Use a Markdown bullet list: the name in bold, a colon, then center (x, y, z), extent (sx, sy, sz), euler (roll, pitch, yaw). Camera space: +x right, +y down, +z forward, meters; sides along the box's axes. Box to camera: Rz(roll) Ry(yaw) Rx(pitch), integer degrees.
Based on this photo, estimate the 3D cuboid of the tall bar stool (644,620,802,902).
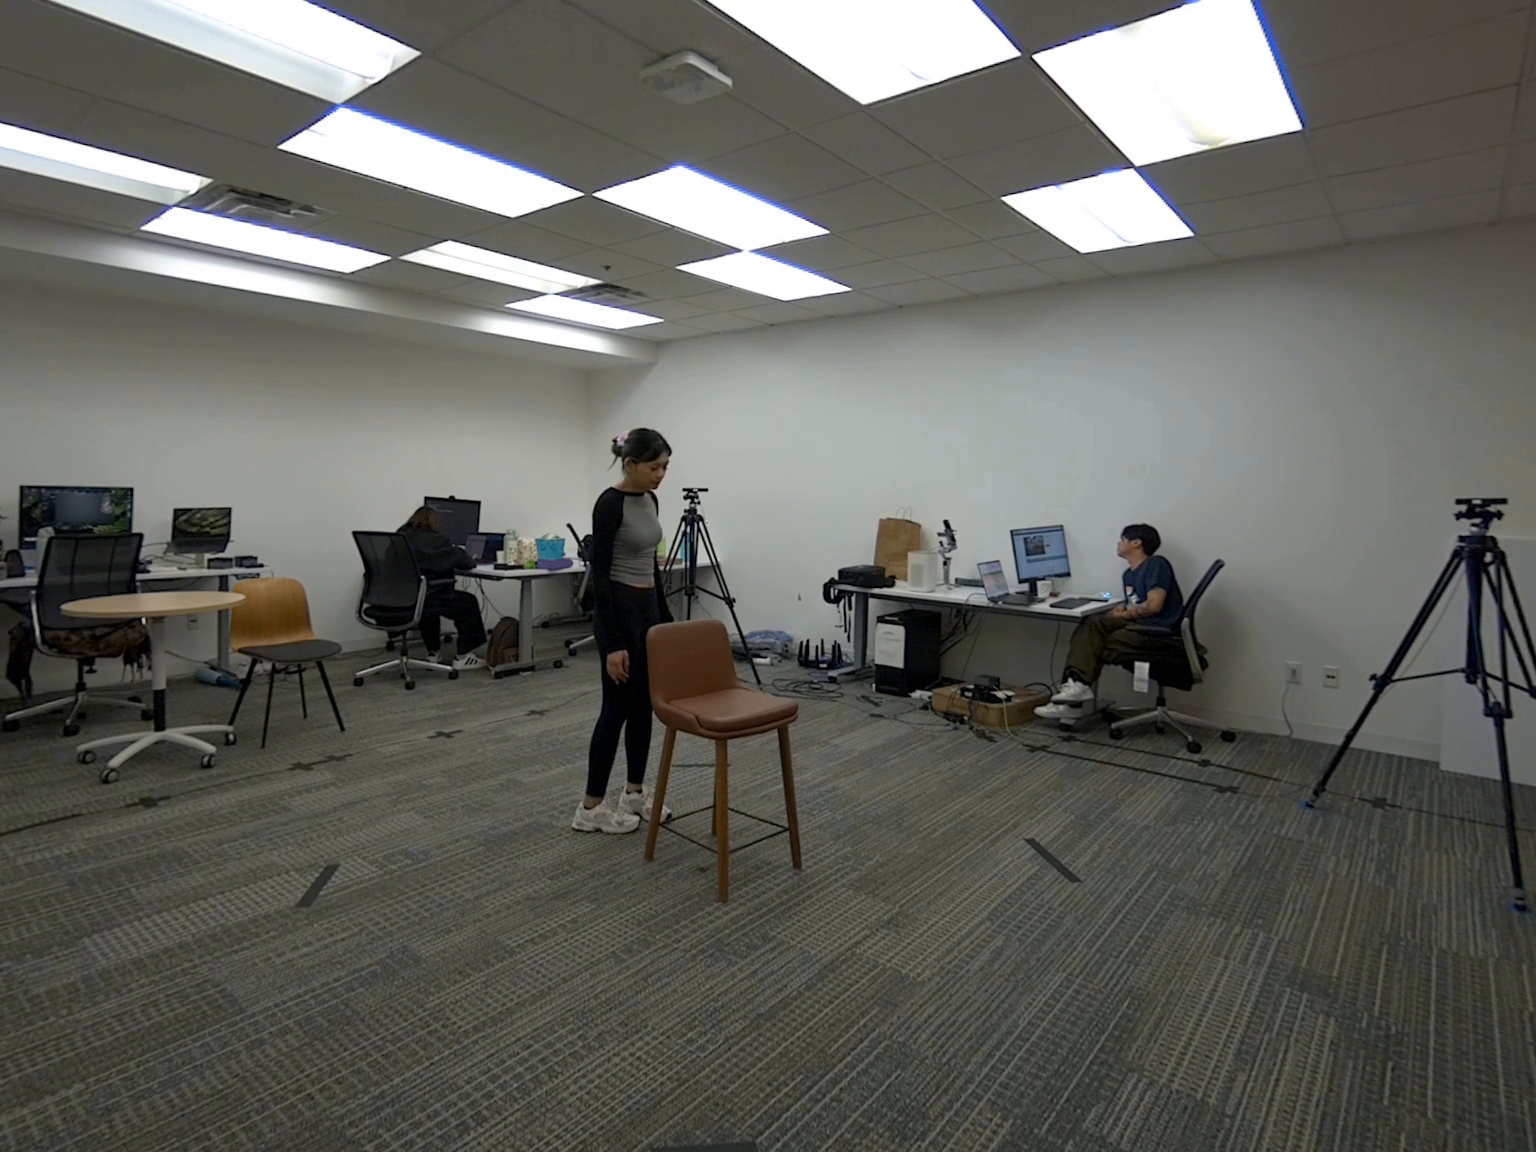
- **tall bar stool**: center (-0.179, 0.629, 3.140), extent (0.483, 0.889, 0.442), euler (1, 2, 45)
